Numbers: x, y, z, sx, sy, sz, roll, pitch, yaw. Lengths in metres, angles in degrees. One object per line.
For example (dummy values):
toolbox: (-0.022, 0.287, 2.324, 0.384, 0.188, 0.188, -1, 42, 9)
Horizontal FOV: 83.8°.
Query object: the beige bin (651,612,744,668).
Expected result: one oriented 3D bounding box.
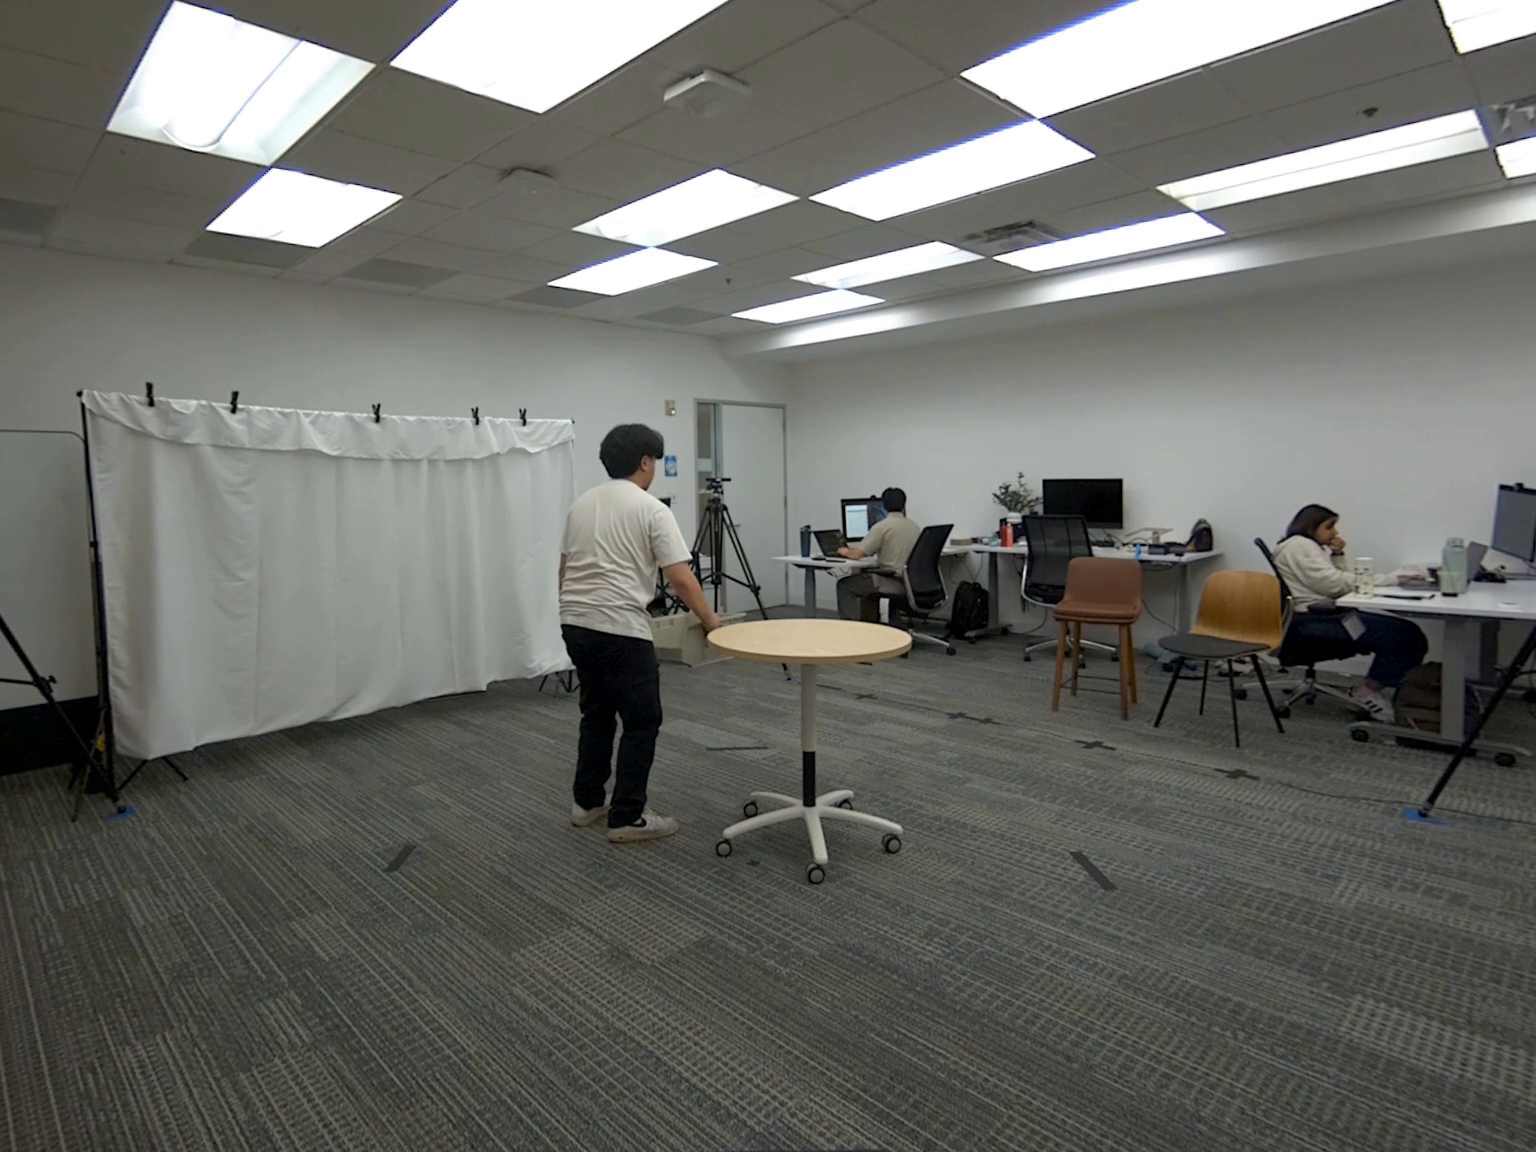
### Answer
beige bin: (-0.374, 0.276, 3.726, 0.367, 0.189, 0.434, -5, 1, -43)
